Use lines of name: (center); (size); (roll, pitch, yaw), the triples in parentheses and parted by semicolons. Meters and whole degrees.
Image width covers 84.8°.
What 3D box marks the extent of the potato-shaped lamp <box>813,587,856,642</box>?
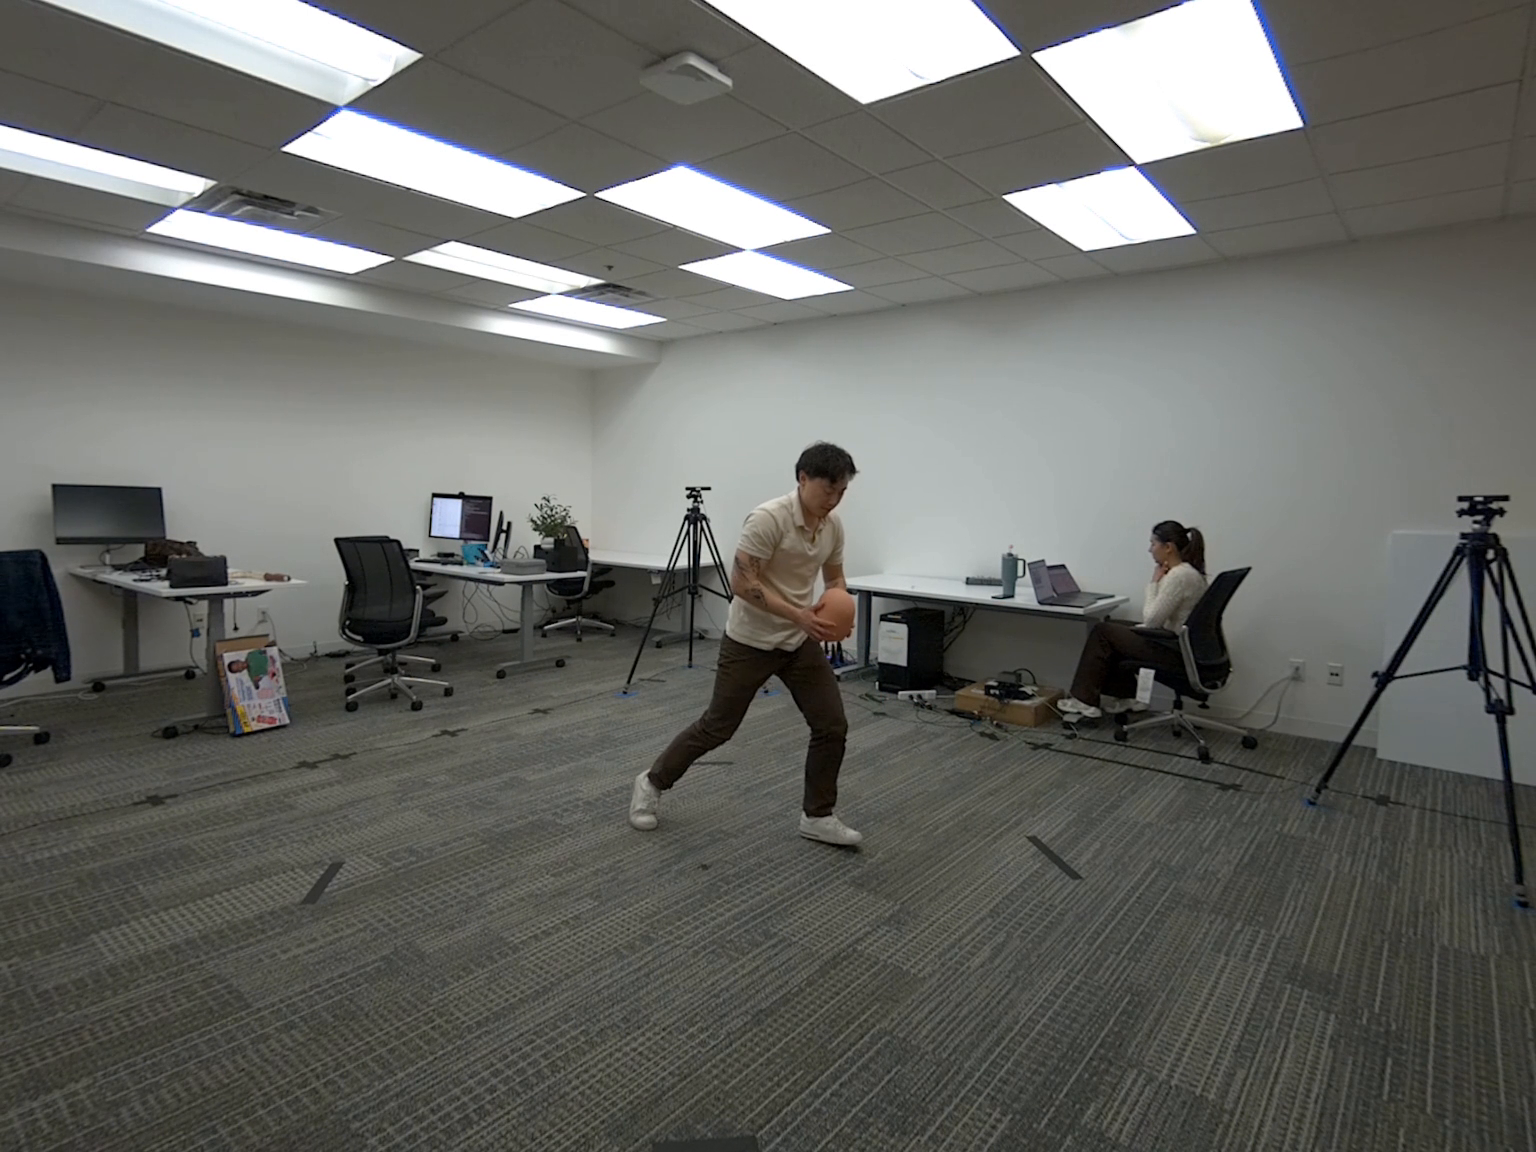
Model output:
potato-shaped lamp: (0.243, 0.149, 3.189); (0.160, 0.197, 0.178); (4, 11, -34)
